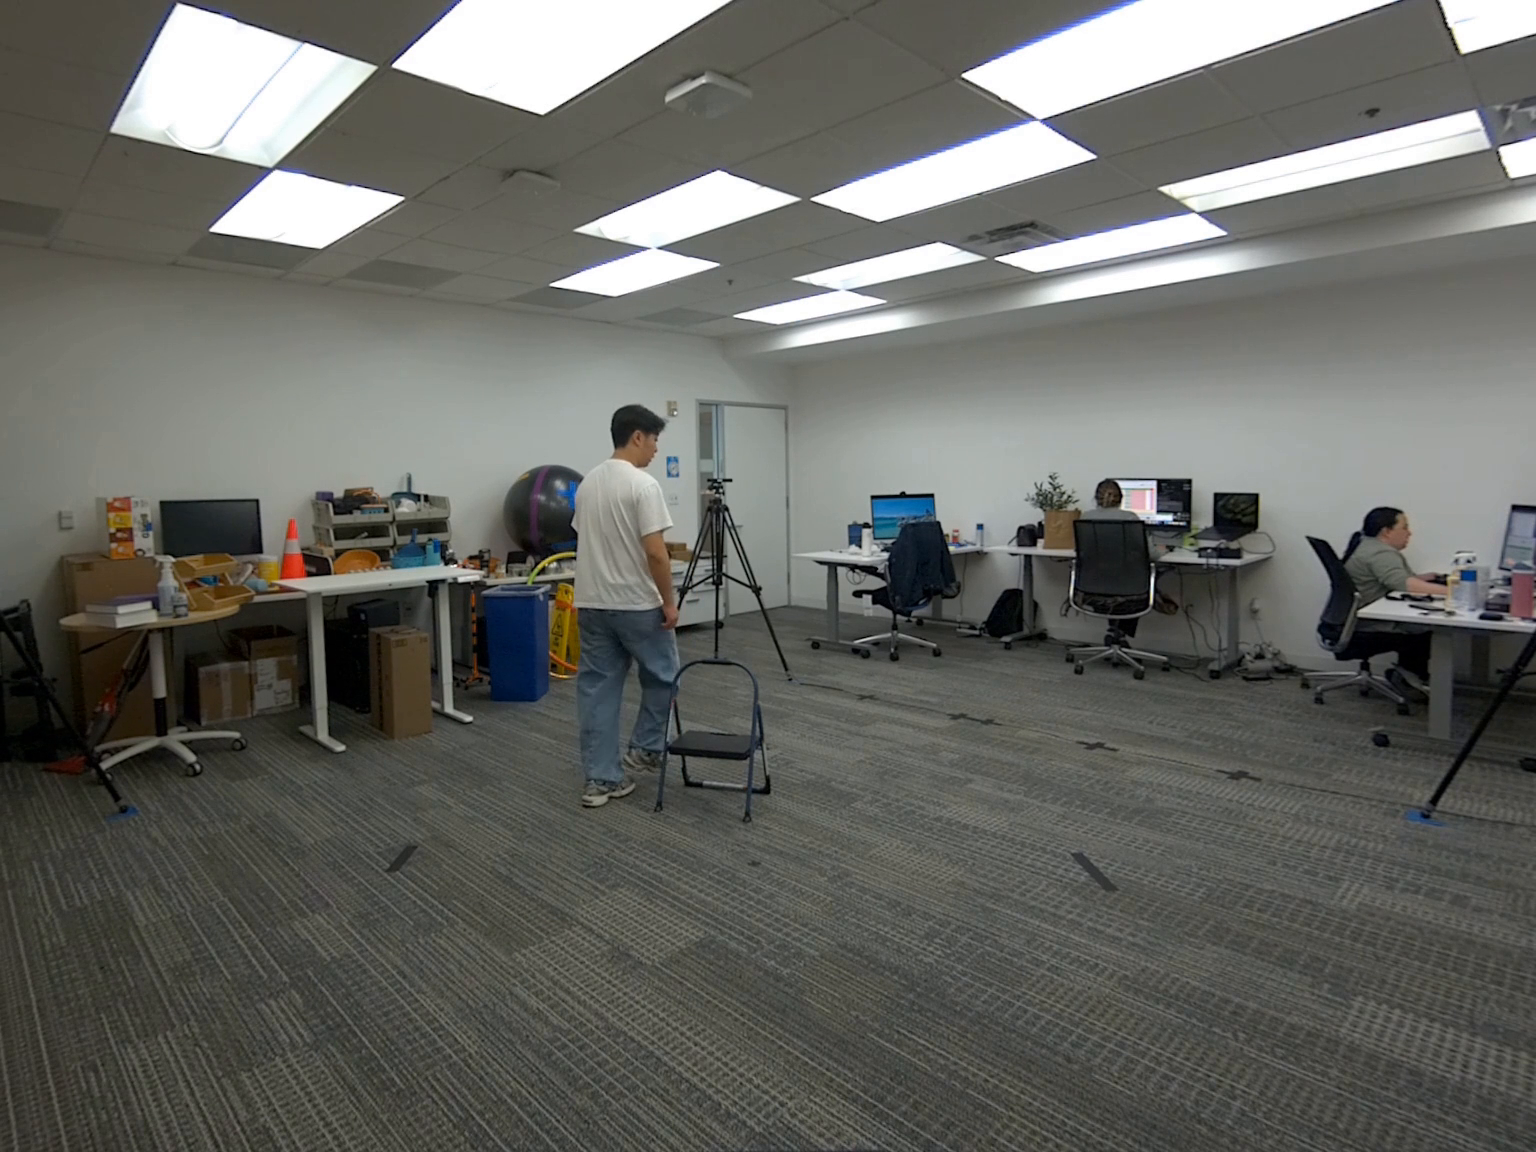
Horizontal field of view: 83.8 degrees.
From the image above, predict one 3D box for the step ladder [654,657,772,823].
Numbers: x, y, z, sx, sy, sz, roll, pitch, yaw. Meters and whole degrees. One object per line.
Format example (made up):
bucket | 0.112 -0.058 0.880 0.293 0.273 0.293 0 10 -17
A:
step ladder | -0.235 0.682 3.694 0.438 0.604 0.344 0 4 18
